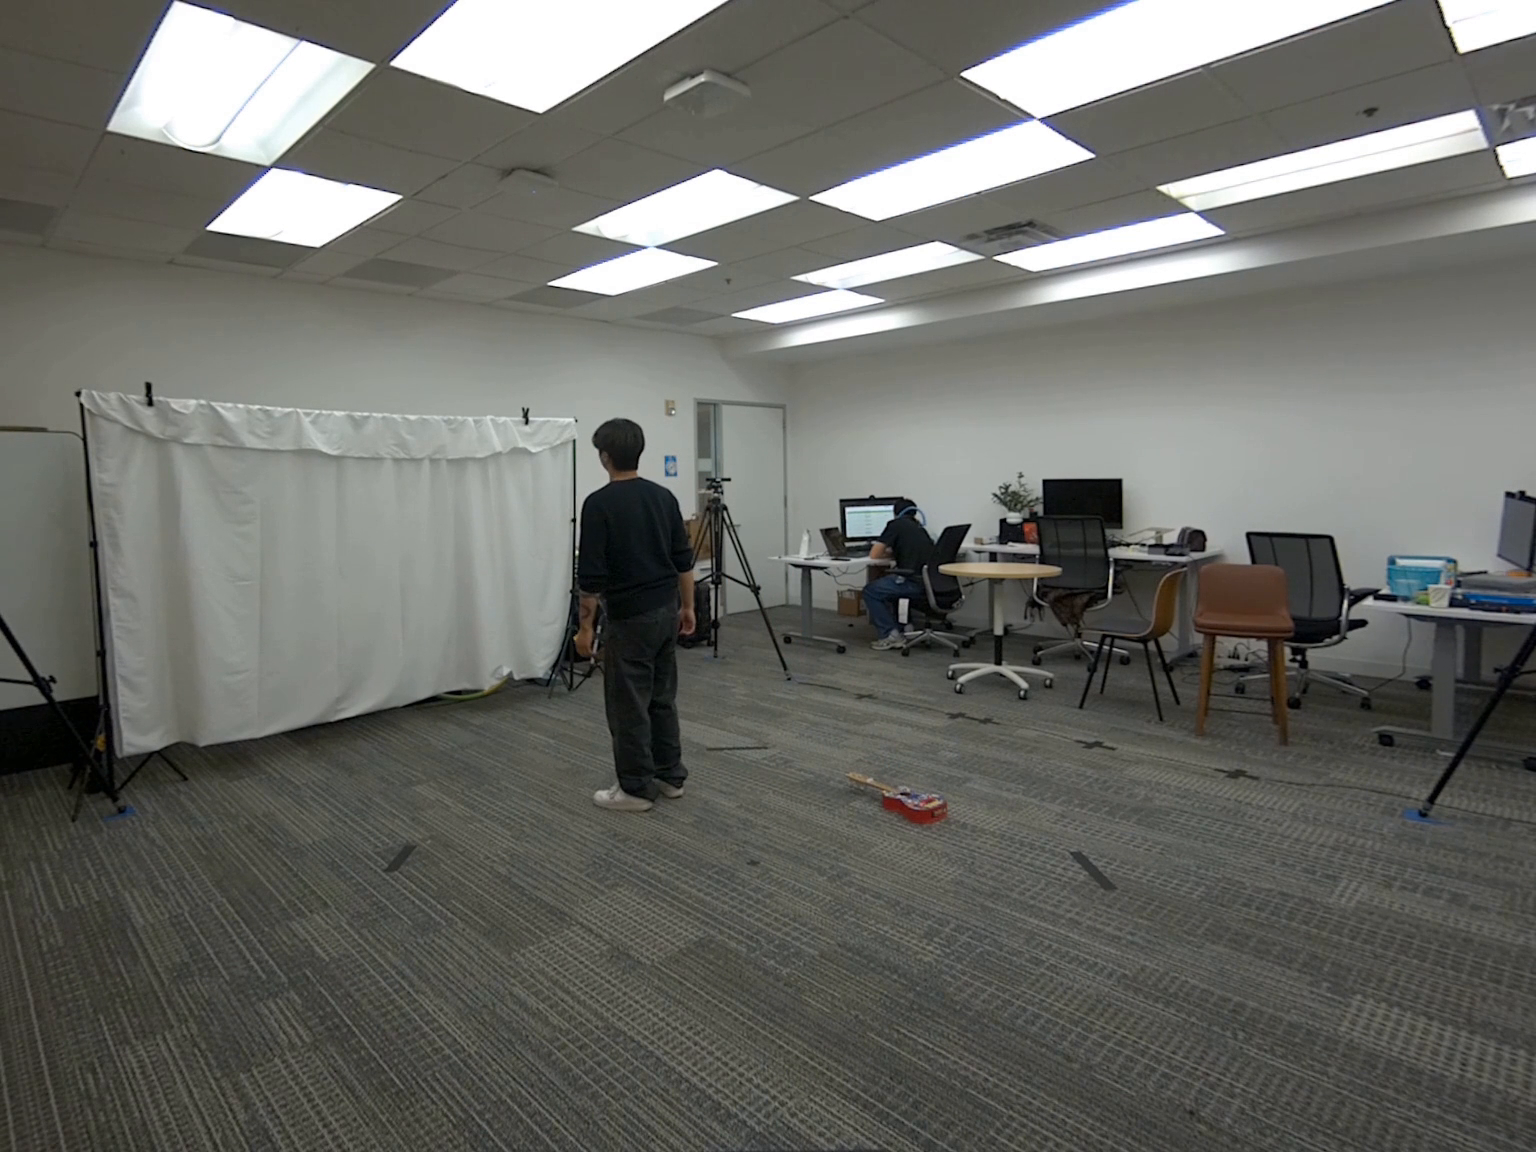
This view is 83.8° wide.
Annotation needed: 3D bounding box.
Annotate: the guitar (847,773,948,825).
[{"bbox_3d":[0.557,0.940,3.671,0.188,0.070,0.512,-5,7,-31],"label":"guitar"}]
